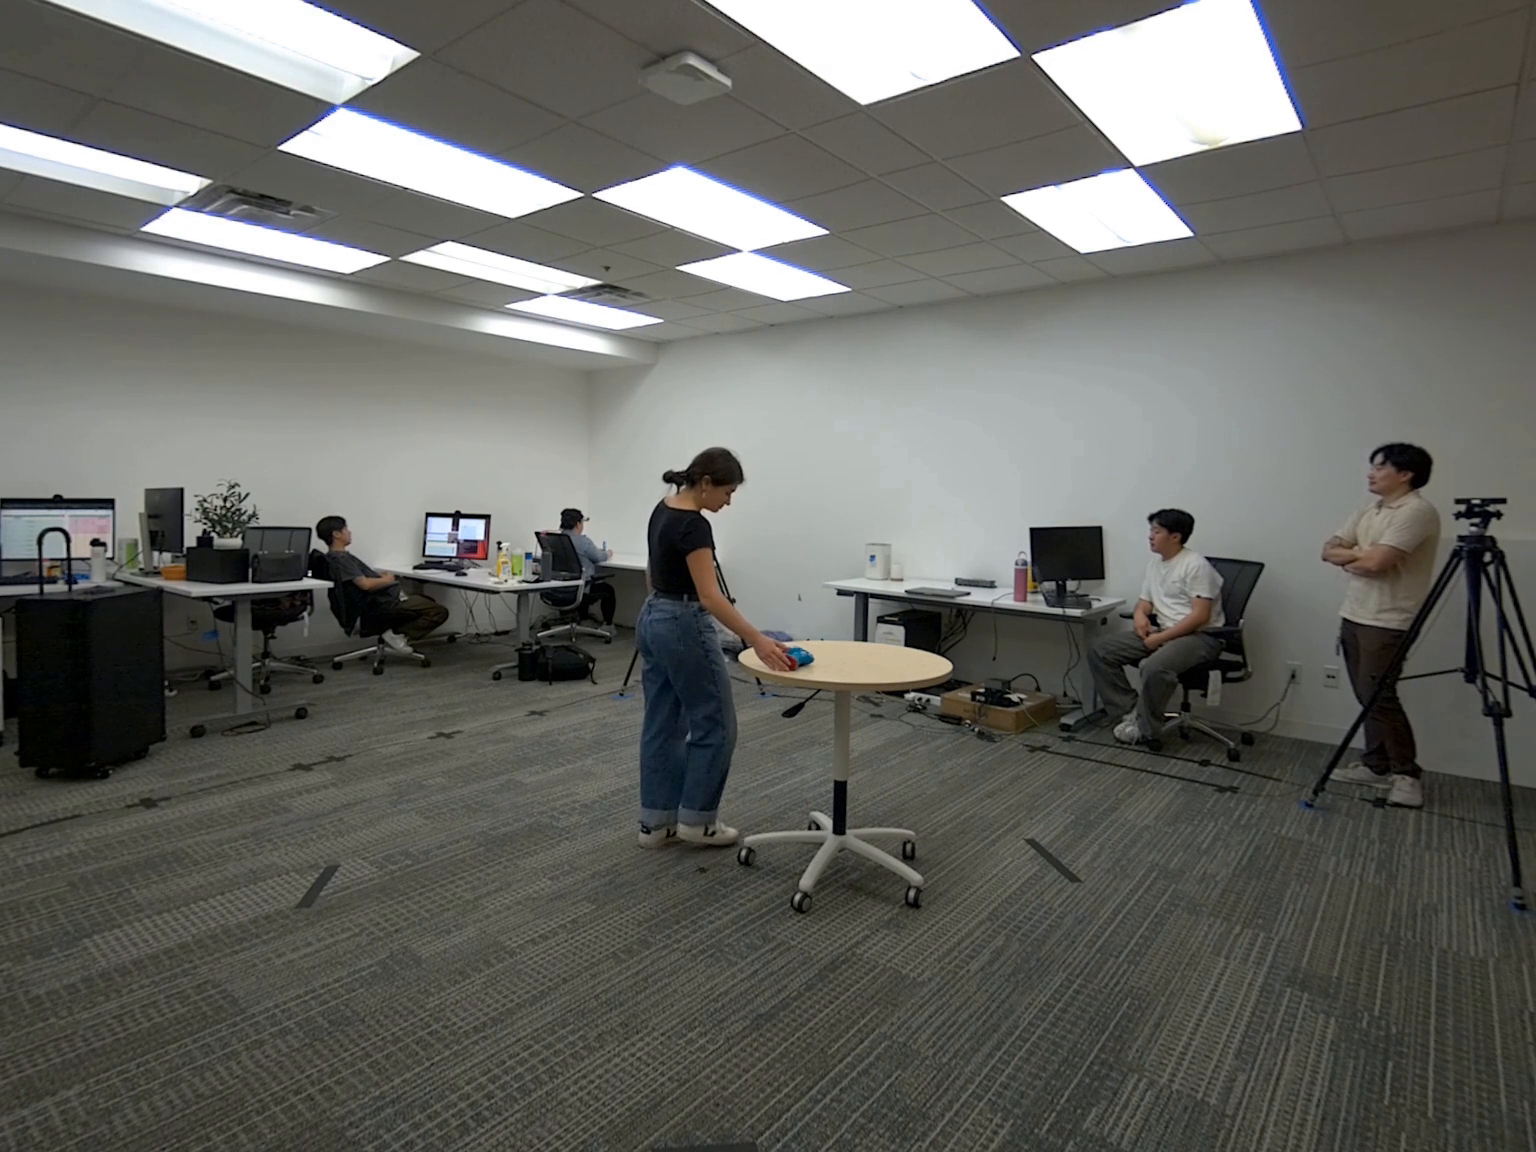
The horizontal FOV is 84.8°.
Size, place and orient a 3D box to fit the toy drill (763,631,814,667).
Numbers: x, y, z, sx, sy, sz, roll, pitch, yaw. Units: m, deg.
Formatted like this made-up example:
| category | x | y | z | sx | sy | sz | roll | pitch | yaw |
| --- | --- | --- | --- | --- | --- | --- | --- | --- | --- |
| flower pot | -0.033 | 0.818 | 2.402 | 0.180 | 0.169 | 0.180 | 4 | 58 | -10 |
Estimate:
| category | x | y | z | sx | sy | sz | roll | pitch | yaw |
| --- | --- | --- | --- | --- | --- | --- | --- | --- | --- |
| toy drill | 0.072 | 0.275 | 2.956 | 0.175 | 0.061 | 0.142 | 14 | 11 | 30 |
